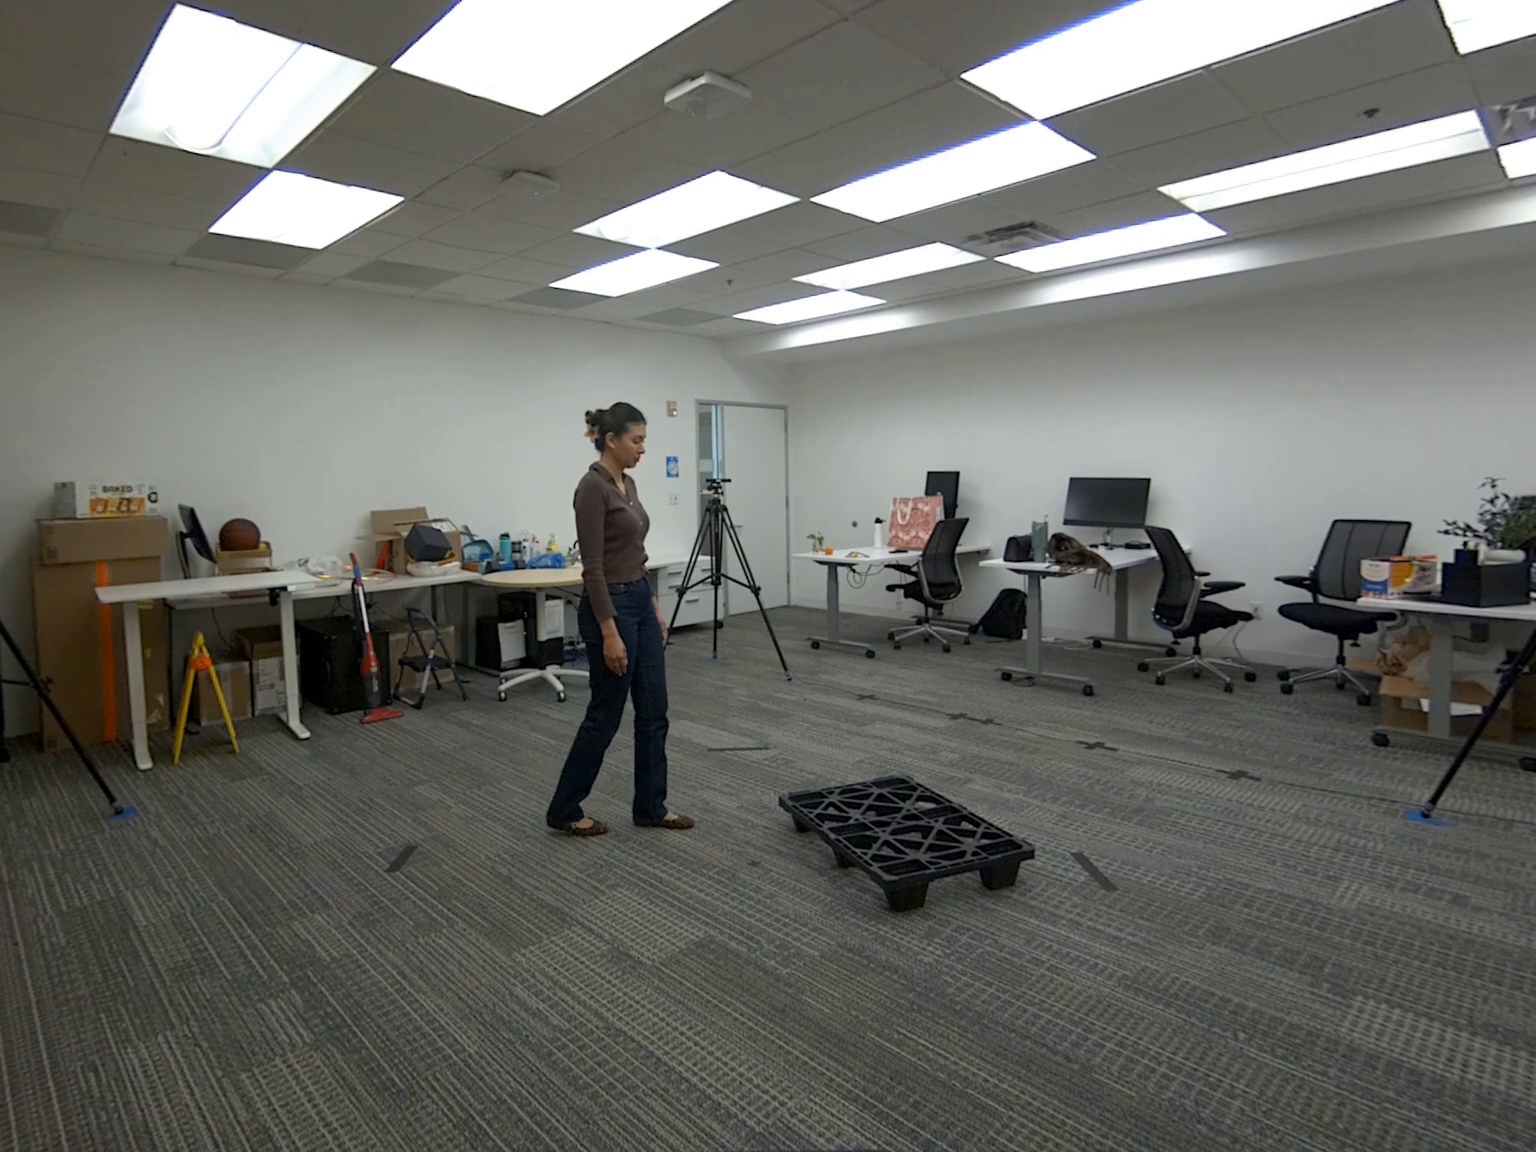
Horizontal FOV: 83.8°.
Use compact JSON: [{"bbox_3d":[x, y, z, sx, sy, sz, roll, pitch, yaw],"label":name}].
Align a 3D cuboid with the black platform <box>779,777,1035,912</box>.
[{"bbox_3d":[0.475,0.965,3.146,0.594,0.142,0.825,-4,7,-23],"label":"black platform"}]
